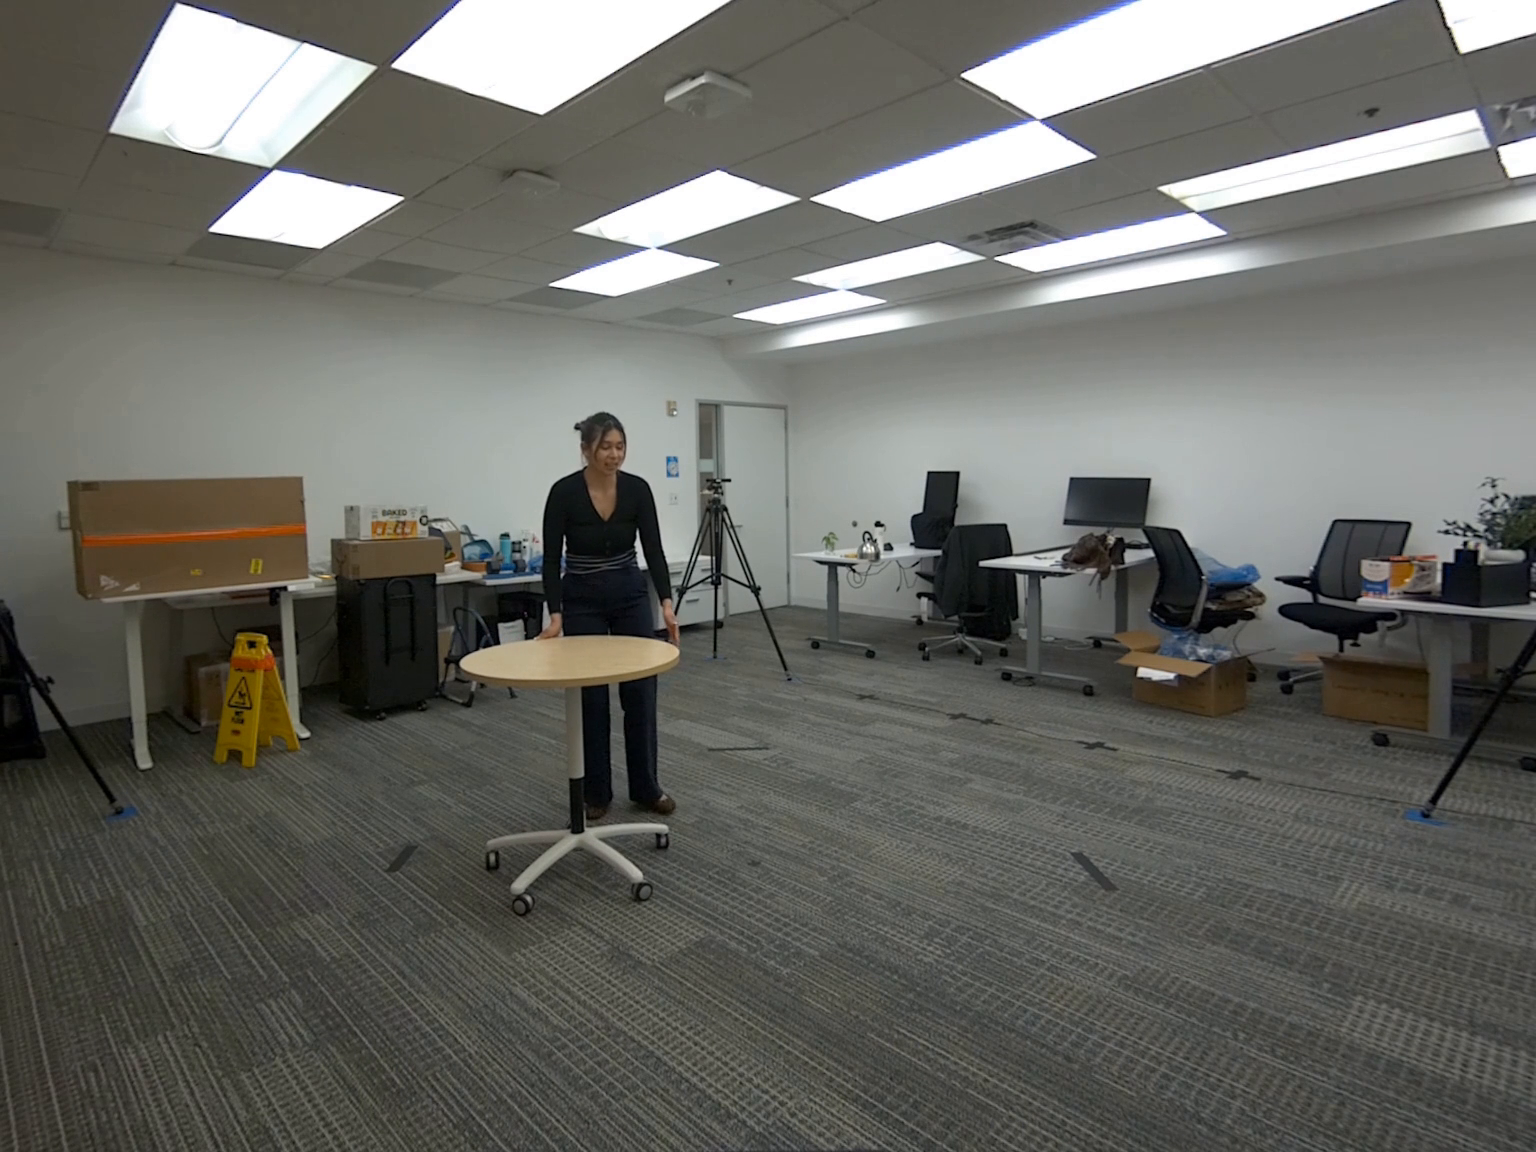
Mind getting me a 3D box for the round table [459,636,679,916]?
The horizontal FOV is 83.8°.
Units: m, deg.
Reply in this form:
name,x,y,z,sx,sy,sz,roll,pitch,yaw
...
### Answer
name,x,y,z,sx,sy,sz,roll,pitch,yaw
round table,-0.690,0.675,3.056,0.763,0.791,0.768,-1,5,-2
